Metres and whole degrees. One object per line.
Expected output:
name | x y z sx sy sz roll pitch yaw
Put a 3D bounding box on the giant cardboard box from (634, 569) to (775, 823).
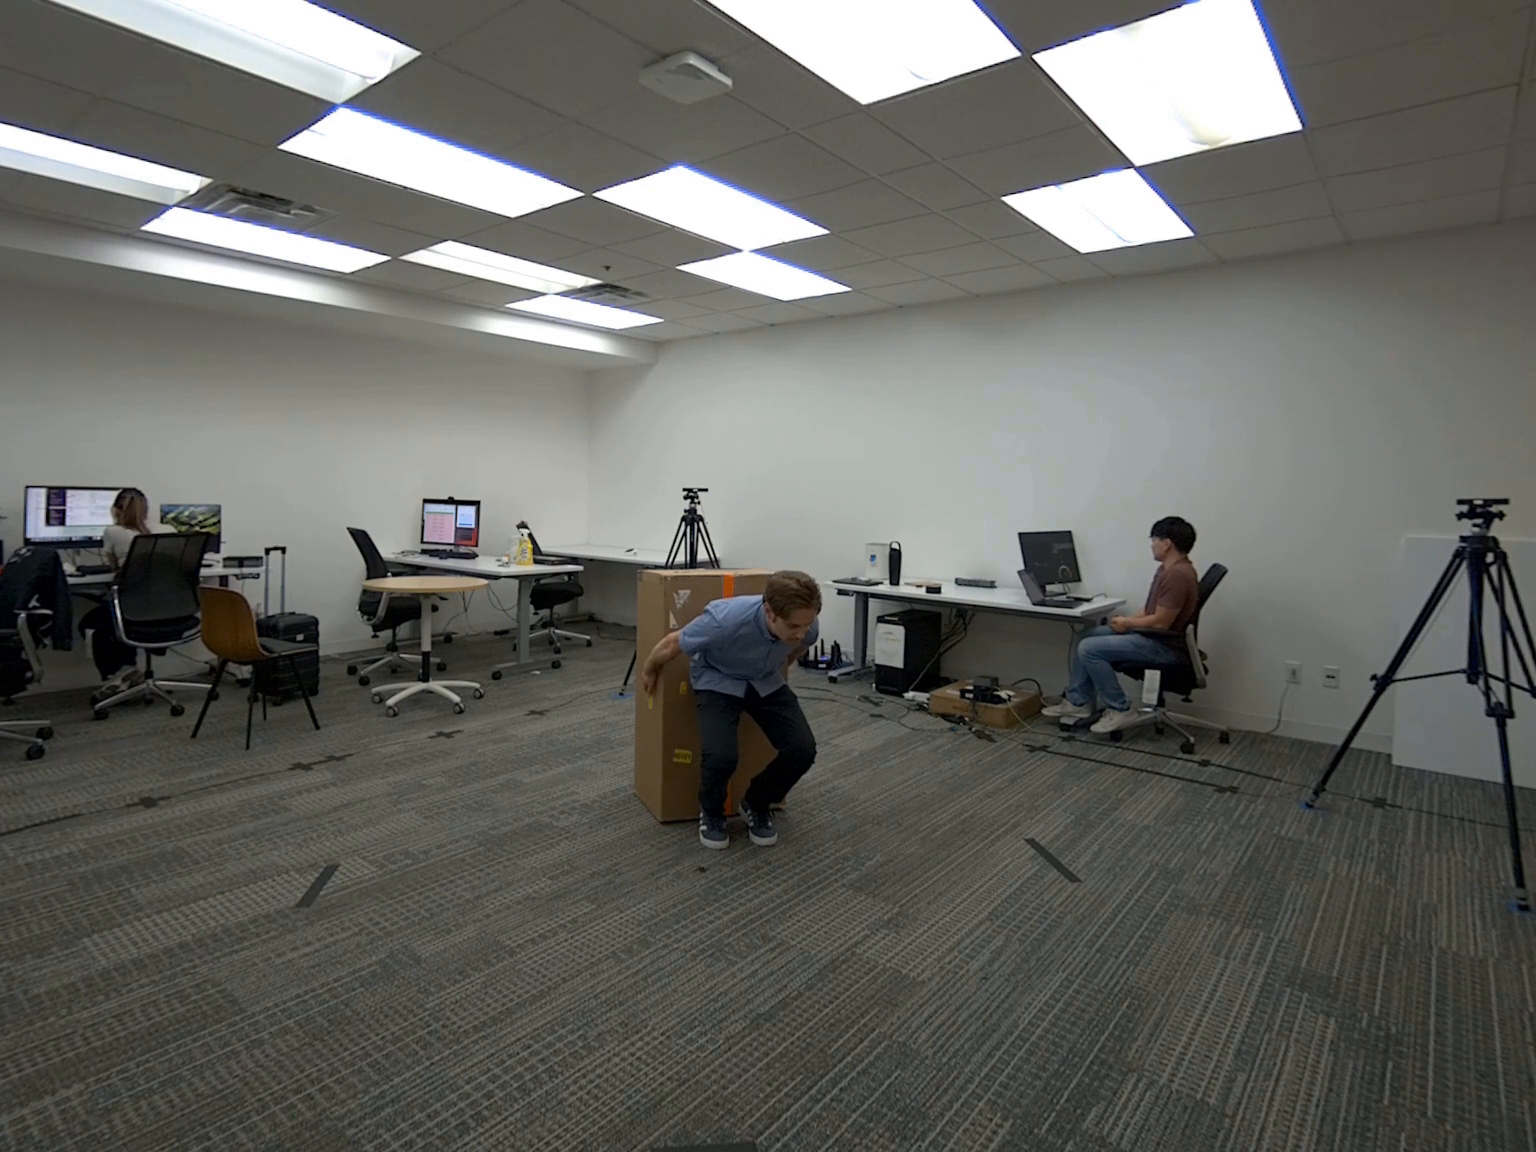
giant cardboard box | -0.272 0.491 3.796 0.571 1.027 0.457 1 0 -23
